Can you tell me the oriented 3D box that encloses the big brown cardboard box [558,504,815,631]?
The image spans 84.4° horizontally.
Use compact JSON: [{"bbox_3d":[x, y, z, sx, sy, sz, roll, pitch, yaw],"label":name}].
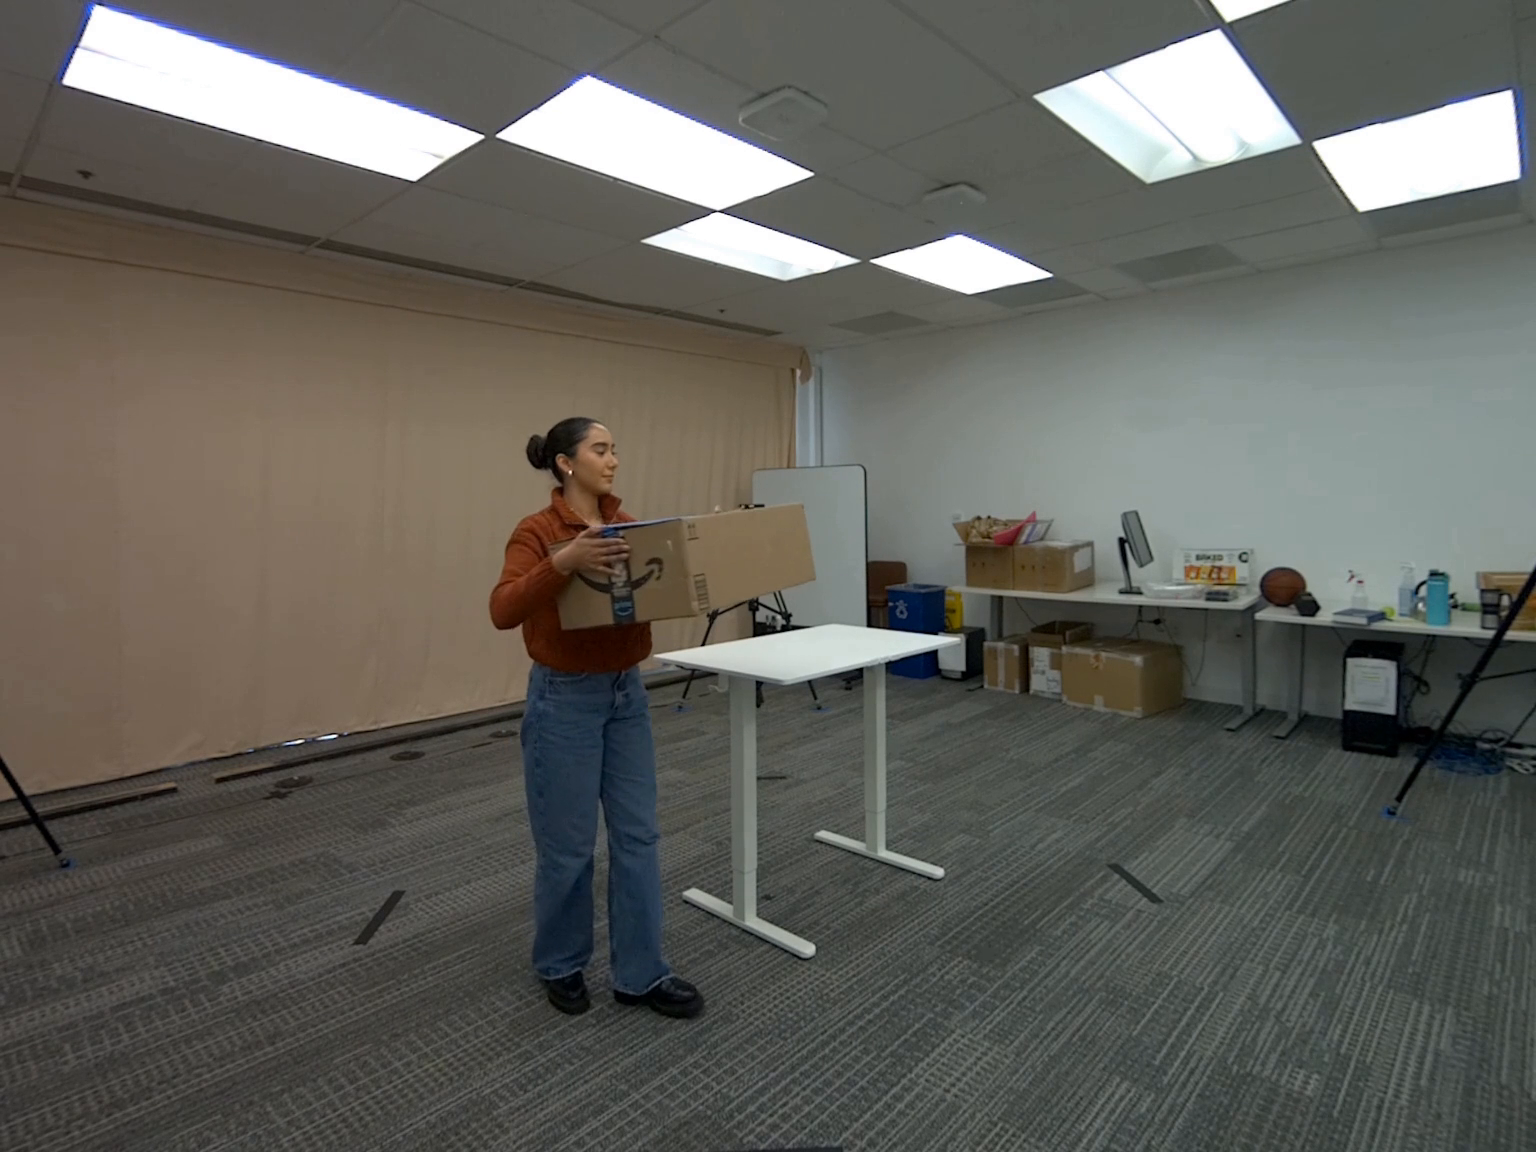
[{"bbox_3d":[-0.199,-0.036,2.147,0.429,0.233,0.574,-8,2,32],"label":"big brown cardboard box"}]
